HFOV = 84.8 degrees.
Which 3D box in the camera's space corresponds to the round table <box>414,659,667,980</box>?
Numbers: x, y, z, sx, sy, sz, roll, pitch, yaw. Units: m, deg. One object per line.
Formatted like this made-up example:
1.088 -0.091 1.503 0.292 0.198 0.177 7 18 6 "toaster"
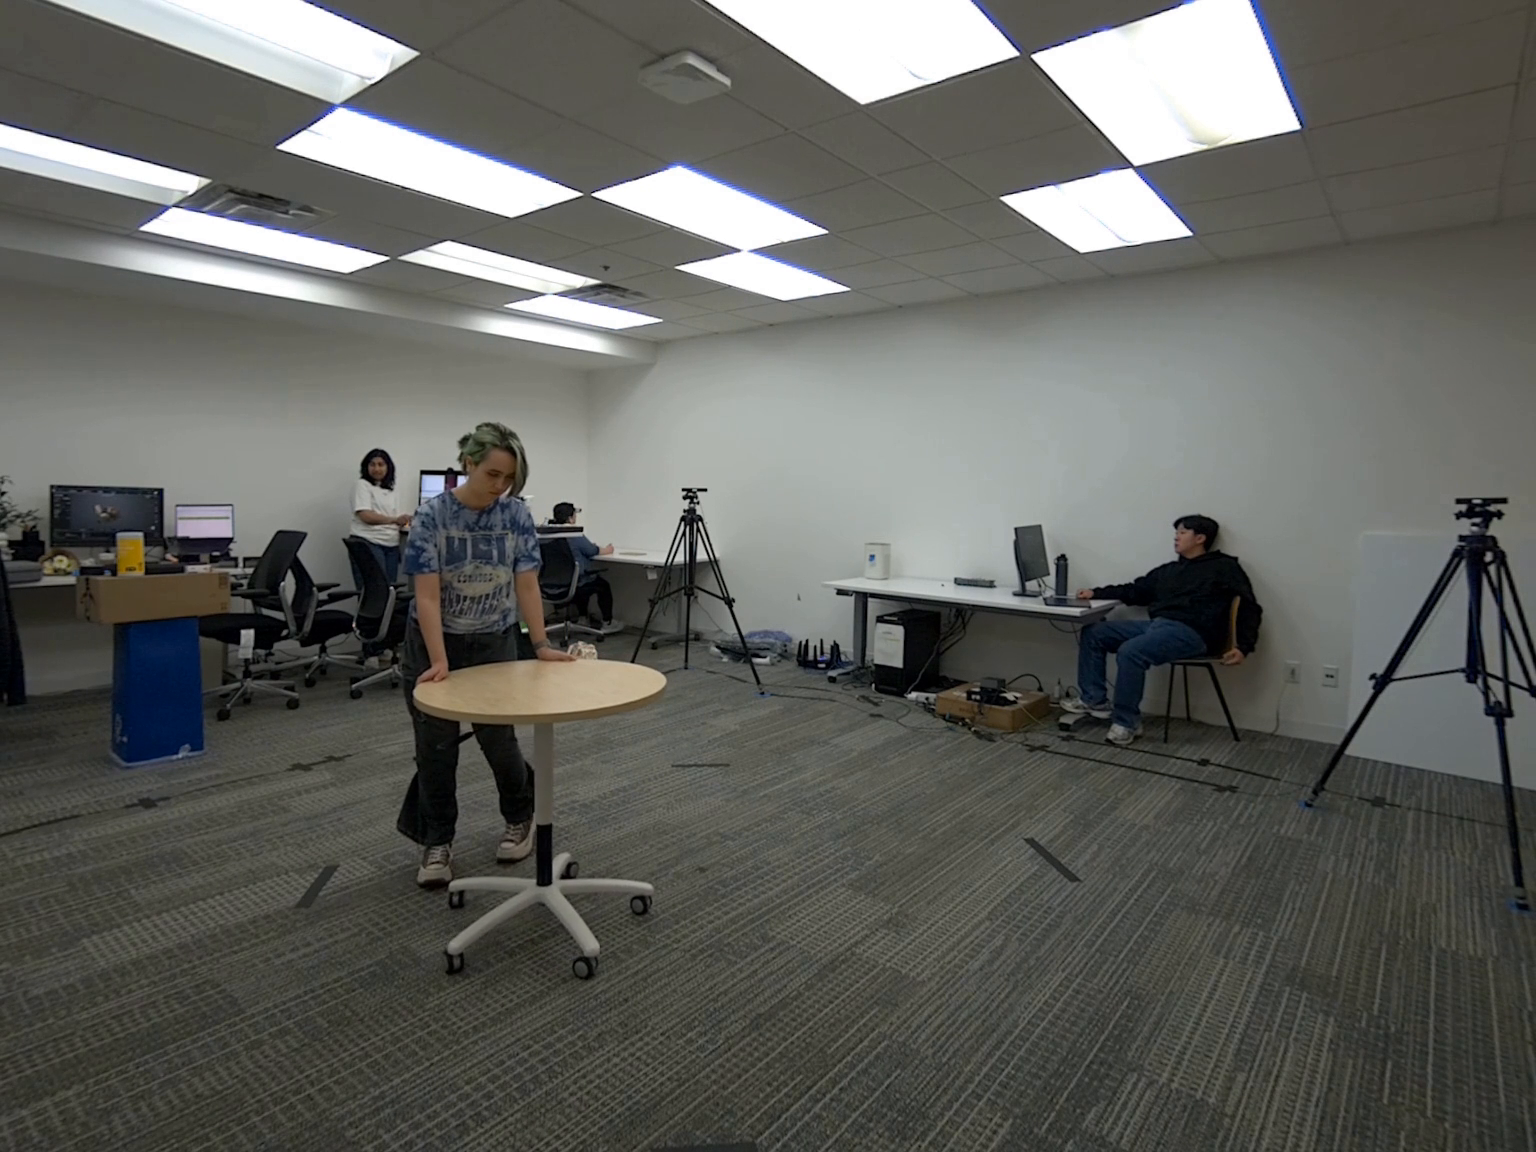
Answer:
-0.711 0.720 2.663 0.763 0.791 0.768 0 4 -2 "round table"
